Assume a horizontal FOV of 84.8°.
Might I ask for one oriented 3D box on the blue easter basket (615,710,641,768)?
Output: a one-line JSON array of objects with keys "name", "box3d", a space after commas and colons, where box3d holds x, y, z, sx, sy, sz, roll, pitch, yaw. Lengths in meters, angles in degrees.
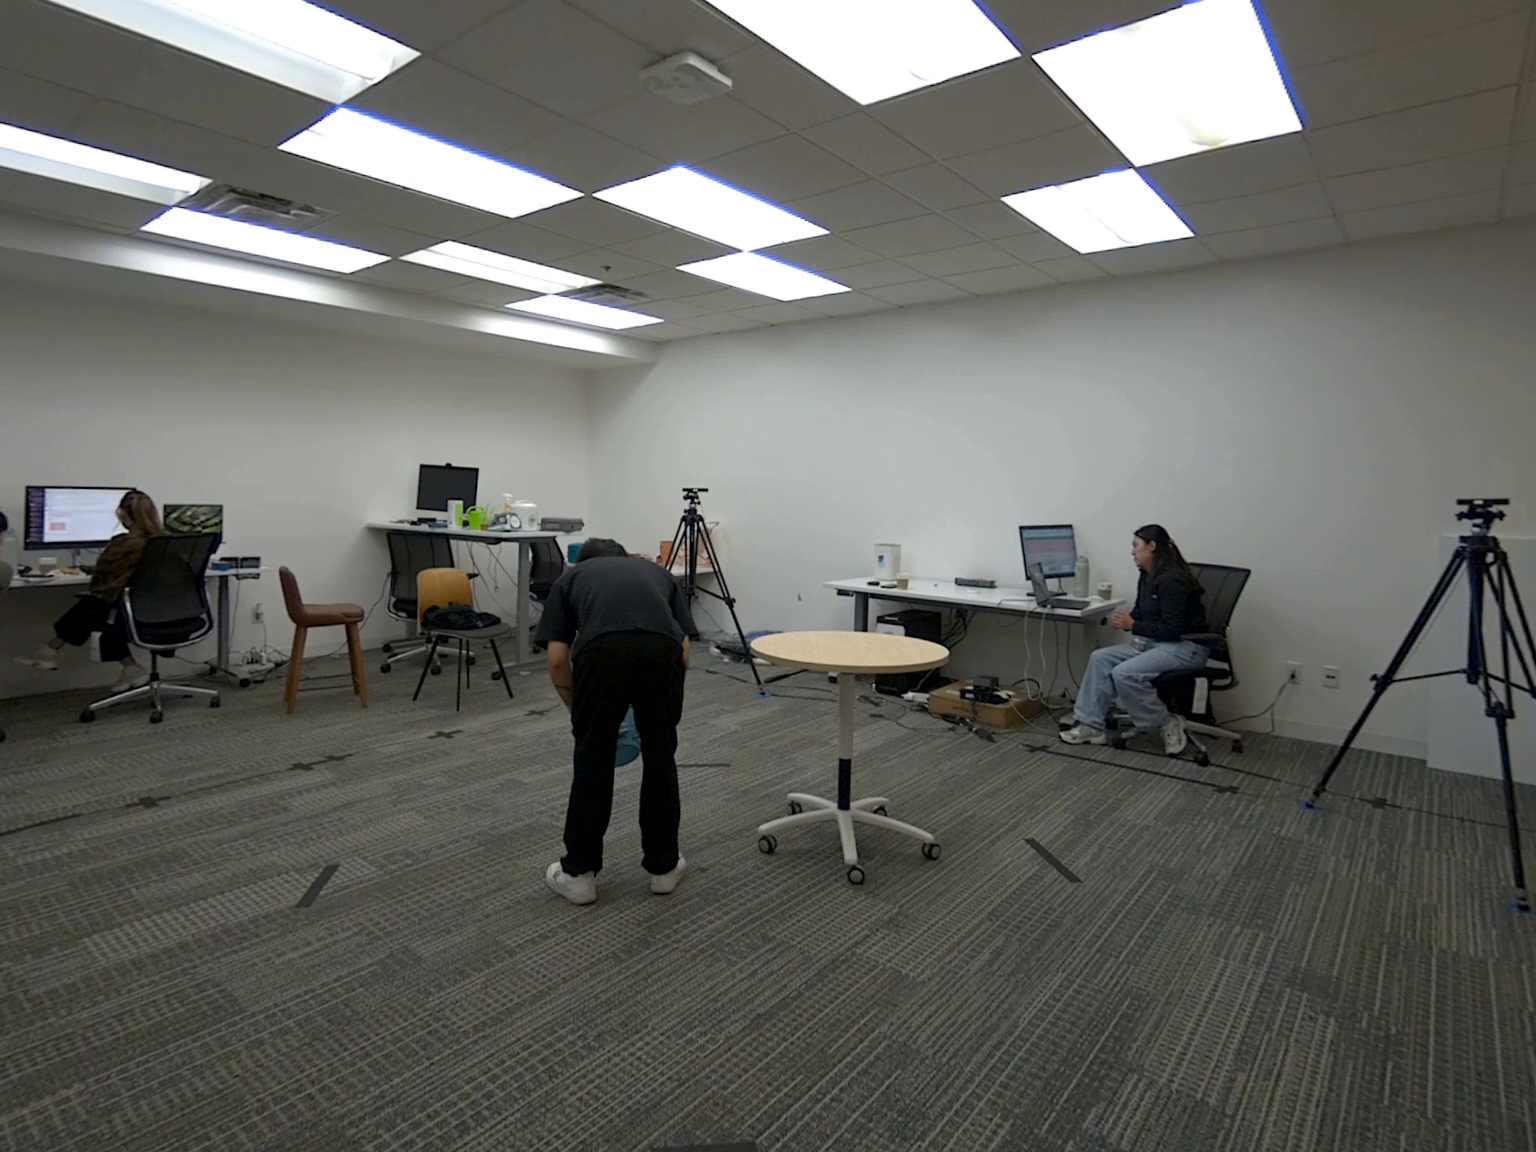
[{"name": "blue easter basket", "box3d": [-0.592, 0.586, 3.159, 0.241, 0.161, 0.237, -10, -38, -10]}]
